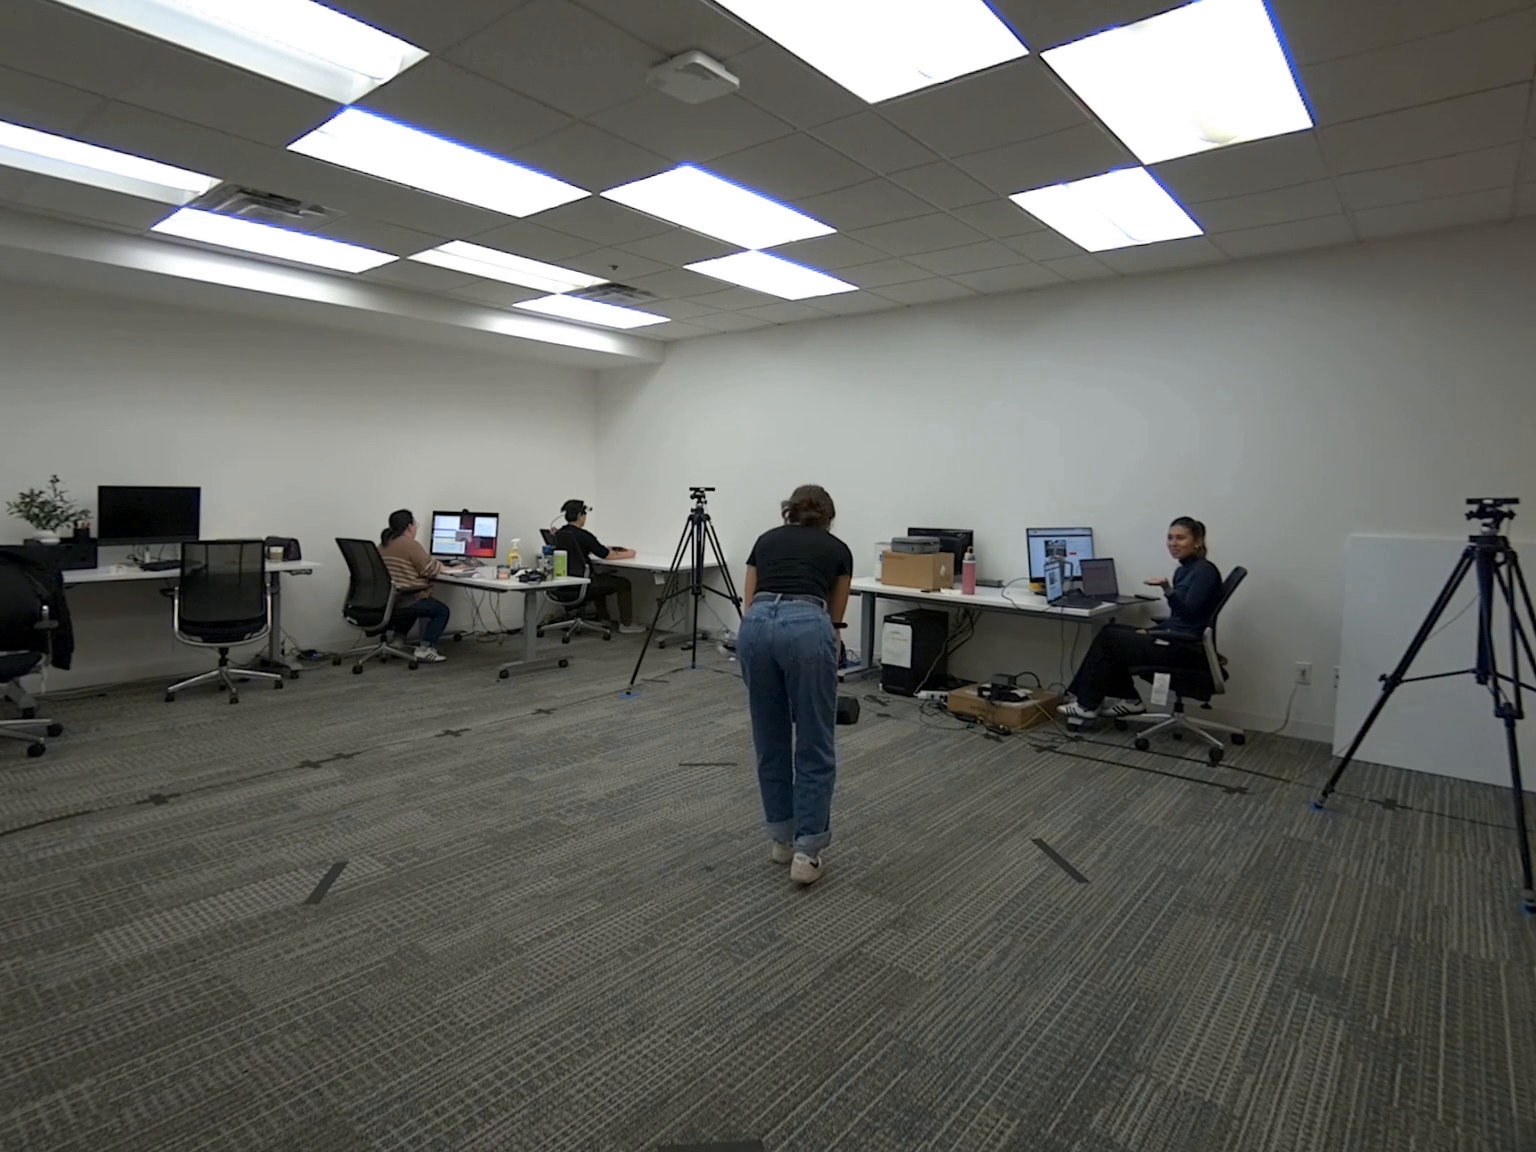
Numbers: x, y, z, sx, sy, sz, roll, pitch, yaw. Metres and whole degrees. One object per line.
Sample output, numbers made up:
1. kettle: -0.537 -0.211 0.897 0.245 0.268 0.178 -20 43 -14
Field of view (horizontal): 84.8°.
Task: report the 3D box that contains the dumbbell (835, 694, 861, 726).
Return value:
1. dumbbell: 0.195 0.515 3.275 0.302 0.125 0.104 -3 -36 33
